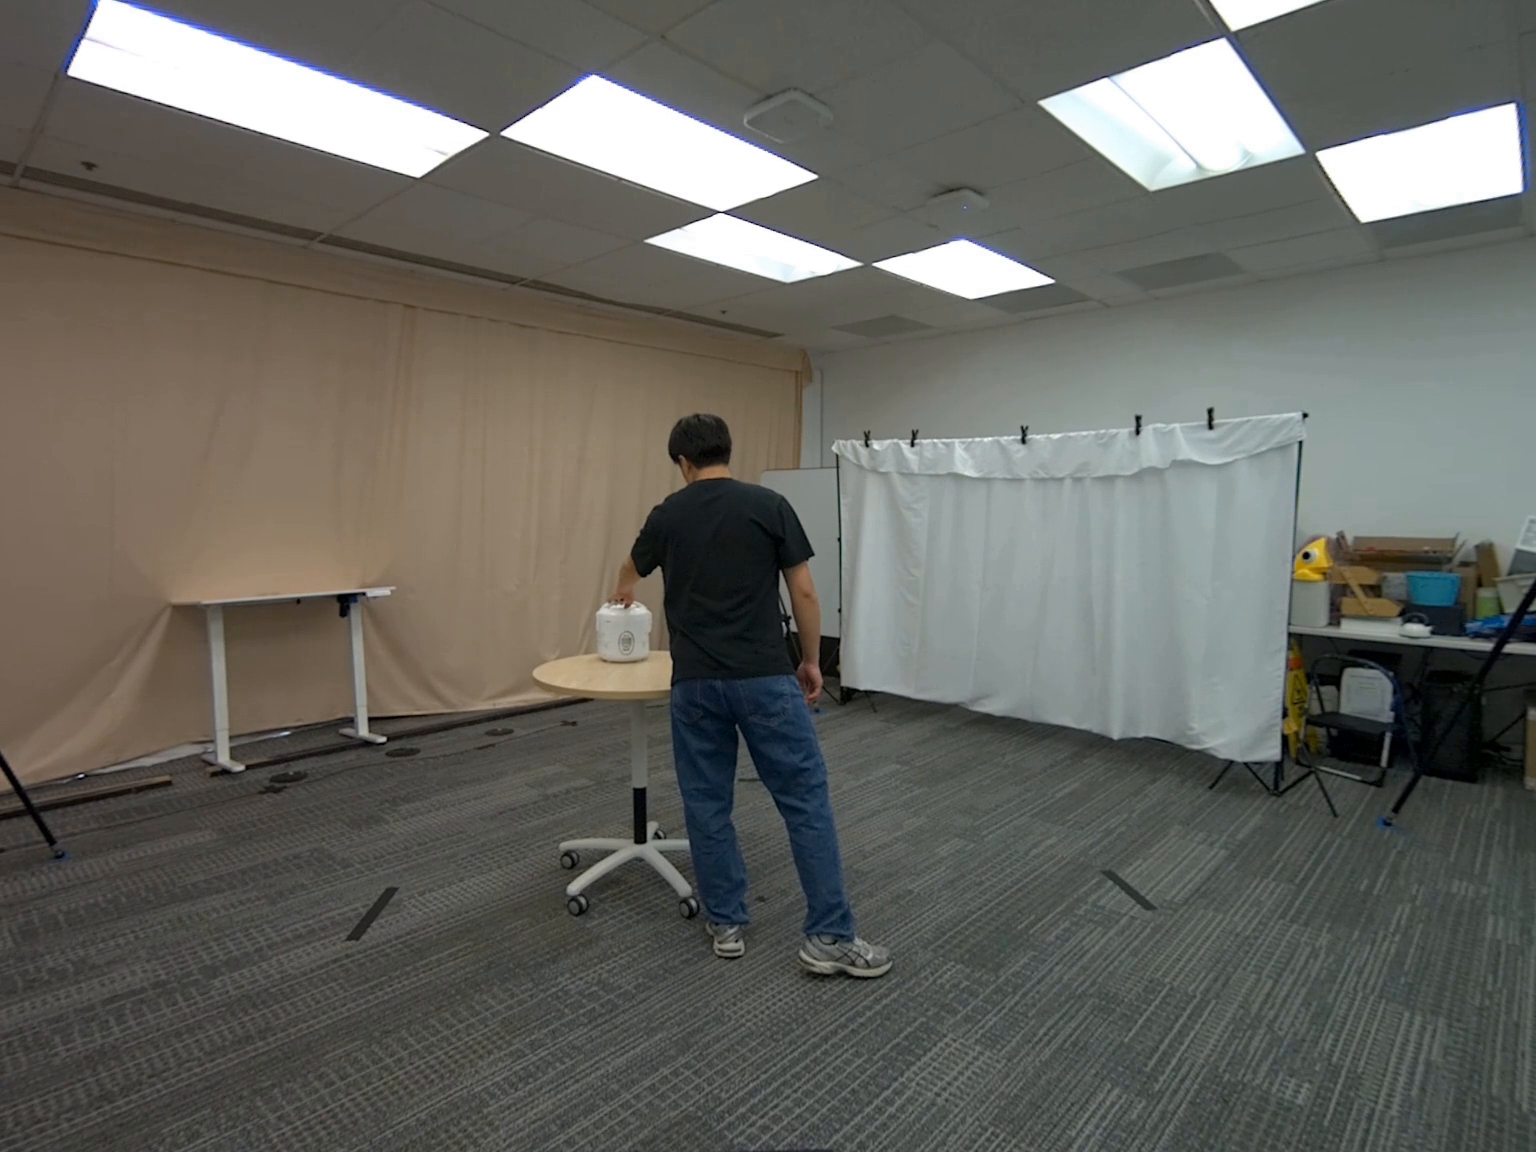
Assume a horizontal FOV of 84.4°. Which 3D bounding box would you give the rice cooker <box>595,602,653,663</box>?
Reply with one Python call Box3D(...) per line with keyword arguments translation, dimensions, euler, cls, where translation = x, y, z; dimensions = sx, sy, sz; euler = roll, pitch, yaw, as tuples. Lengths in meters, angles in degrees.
Box3D(translation=(-0.567, 0.210, 3.308), dimensions=(0.217, 0.232, 0.221), euler=(-2, 4, -14), cls="rice cooker")
